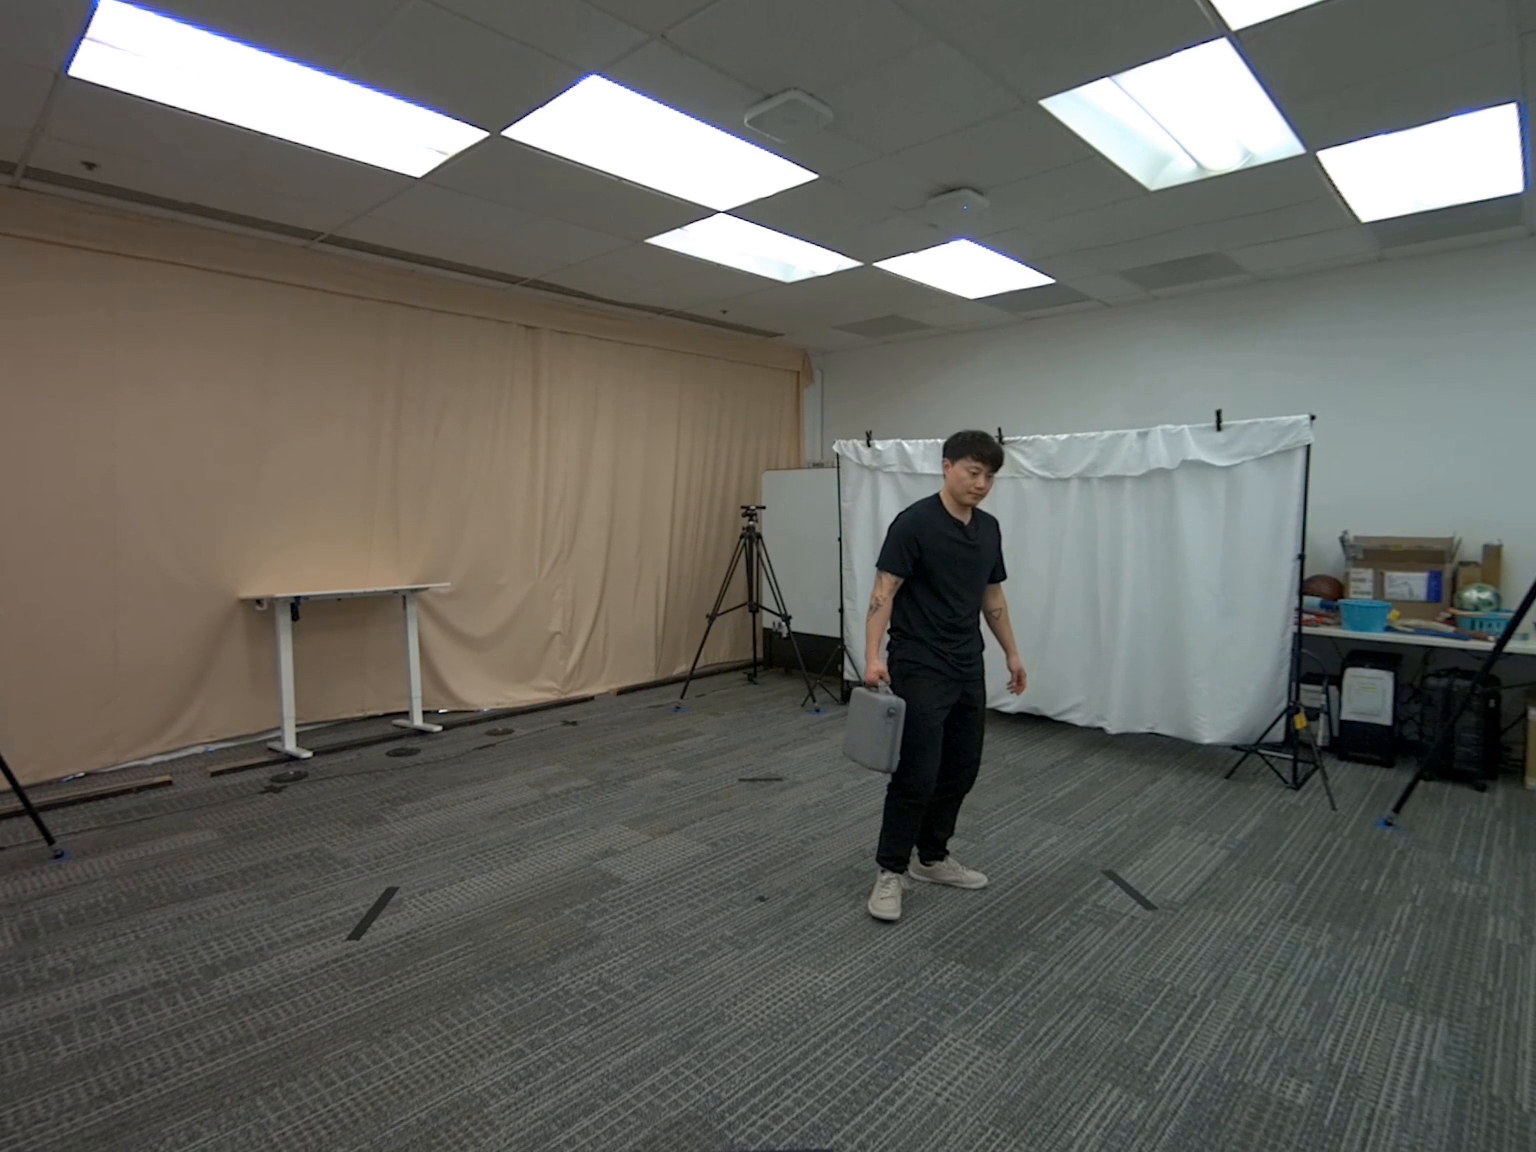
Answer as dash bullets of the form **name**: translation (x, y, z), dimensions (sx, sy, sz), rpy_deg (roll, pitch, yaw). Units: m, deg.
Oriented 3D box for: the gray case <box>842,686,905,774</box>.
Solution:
- **gray case**: translation (0.369, 0.516, 2.865), dimensions (0.103, 0.261, 0.260), rpy_deg (7, -2, -13)
